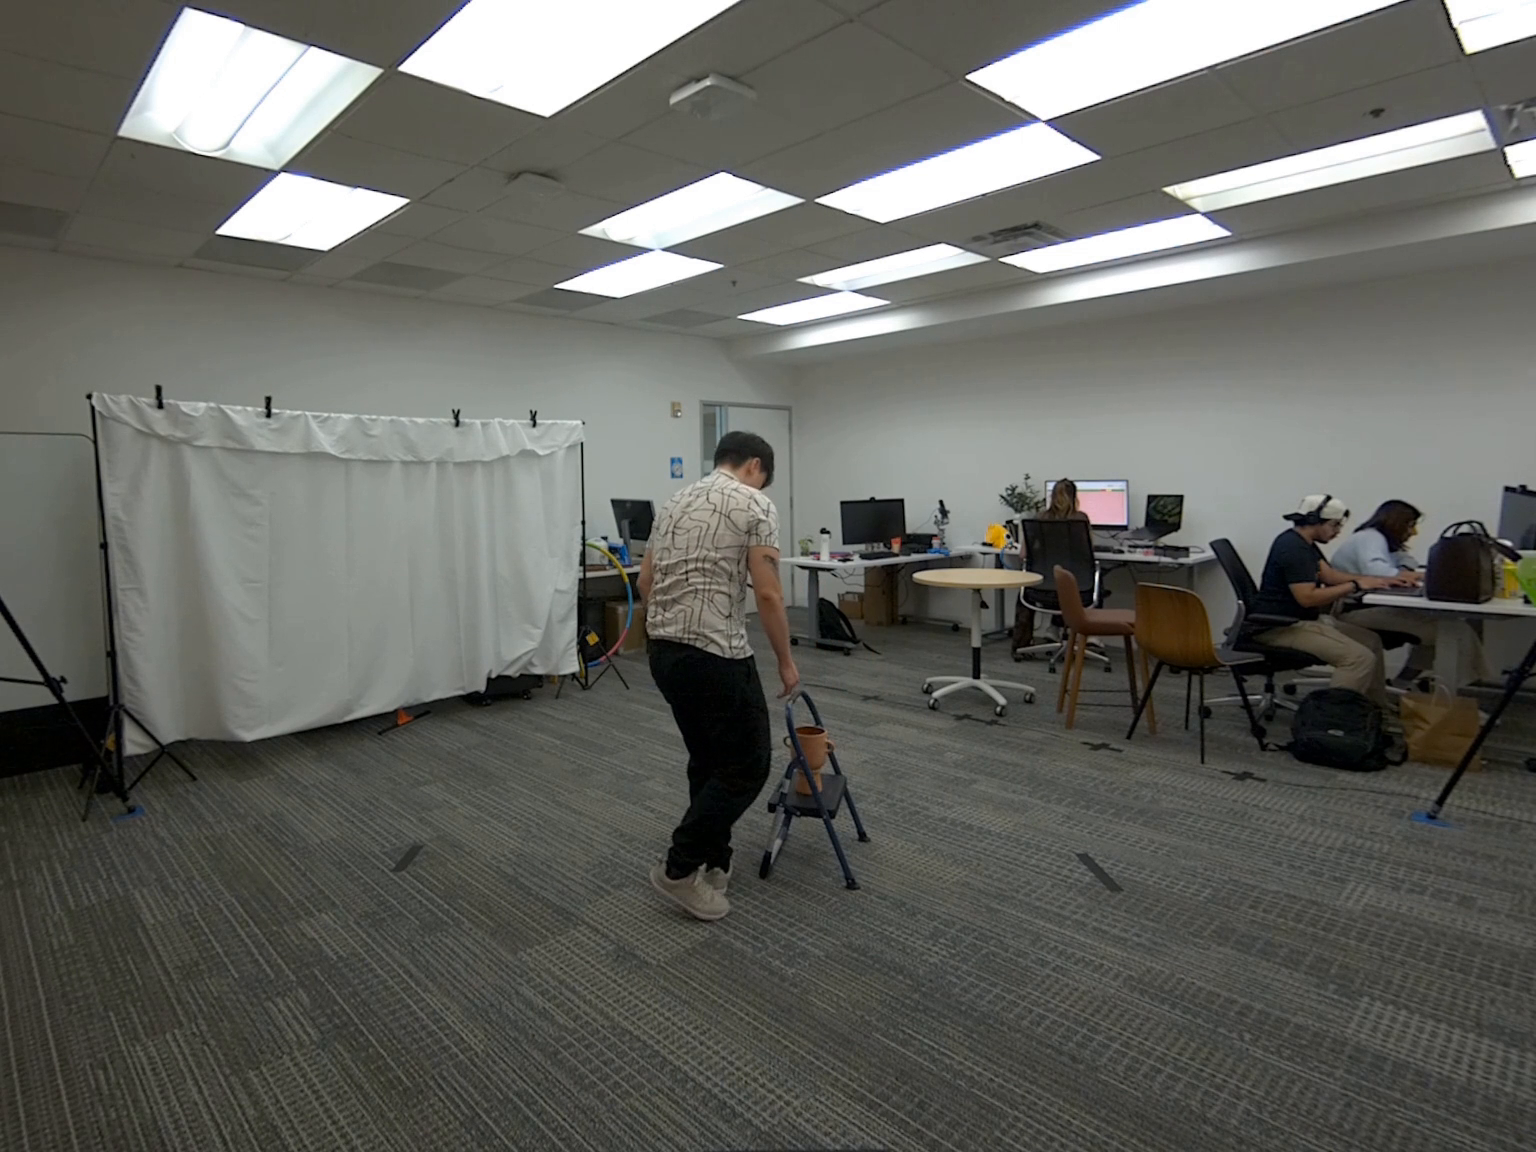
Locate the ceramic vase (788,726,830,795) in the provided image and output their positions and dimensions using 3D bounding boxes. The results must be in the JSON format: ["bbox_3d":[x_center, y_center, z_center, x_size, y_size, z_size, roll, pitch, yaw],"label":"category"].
[{"bbox_3d":[0.148,0.664,3.107,0.132,0.219,0.163,-3,6,-27],"label":"ceramic vase"}]
